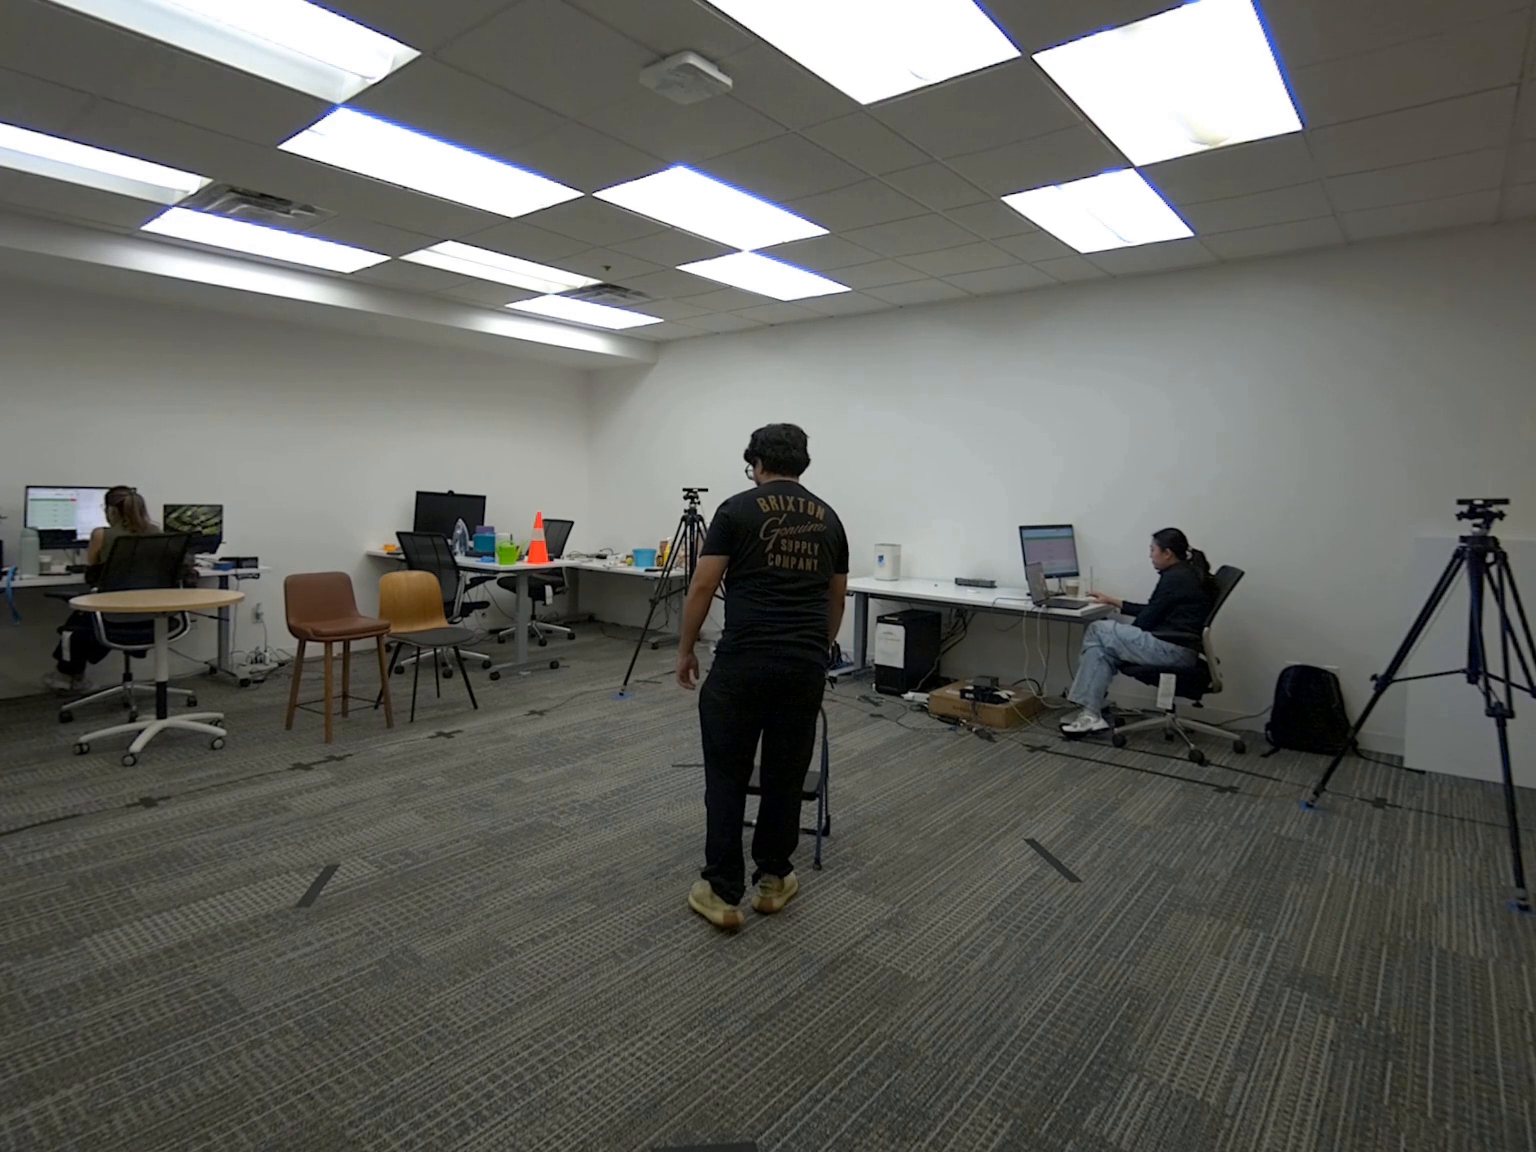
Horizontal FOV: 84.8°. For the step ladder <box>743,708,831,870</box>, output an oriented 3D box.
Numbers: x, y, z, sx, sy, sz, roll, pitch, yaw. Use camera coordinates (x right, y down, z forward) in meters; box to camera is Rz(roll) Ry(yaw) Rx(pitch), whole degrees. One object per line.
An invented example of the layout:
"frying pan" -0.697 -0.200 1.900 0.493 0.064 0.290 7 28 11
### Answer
"step ladder" 0.020 0.747 3.327 0.437 0.604 0.345 2 4 13
